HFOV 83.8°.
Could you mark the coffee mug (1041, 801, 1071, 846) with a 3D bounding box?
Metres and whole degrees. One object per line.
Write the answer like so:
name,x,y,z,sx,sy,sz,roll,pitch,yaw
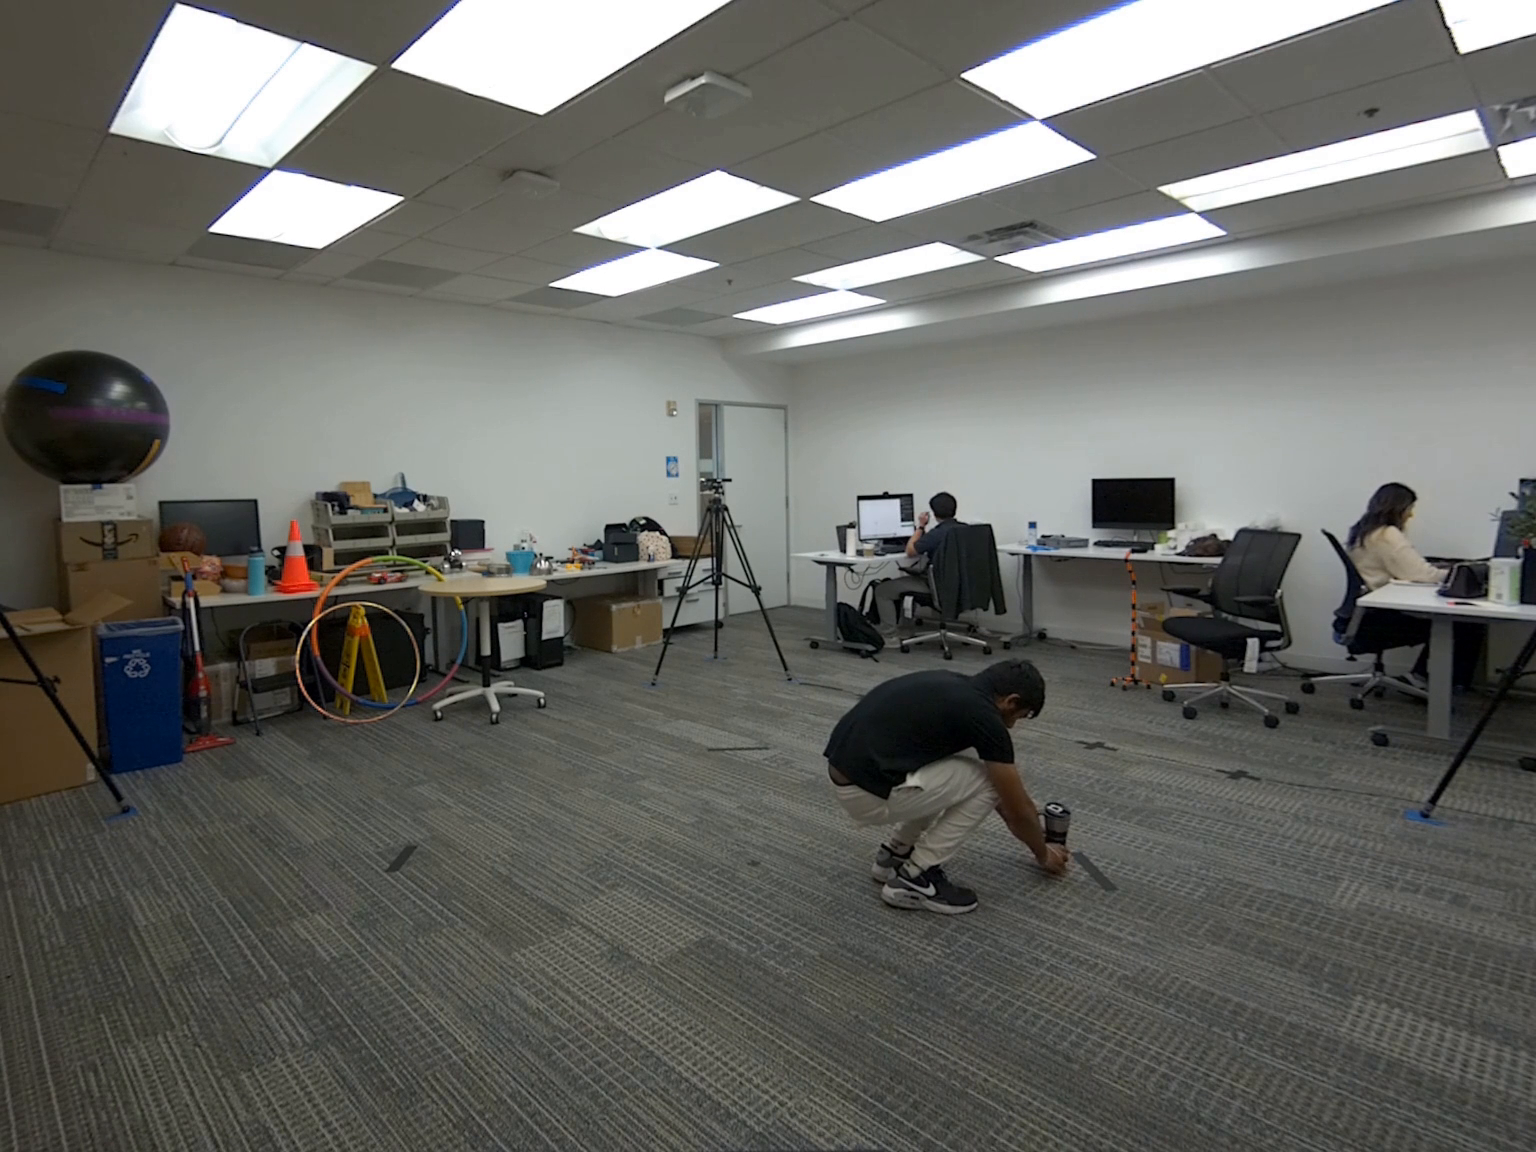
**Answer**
coffee mug,1.001,0.907,3.021,0.123,0.201,0.088,5,11,7
